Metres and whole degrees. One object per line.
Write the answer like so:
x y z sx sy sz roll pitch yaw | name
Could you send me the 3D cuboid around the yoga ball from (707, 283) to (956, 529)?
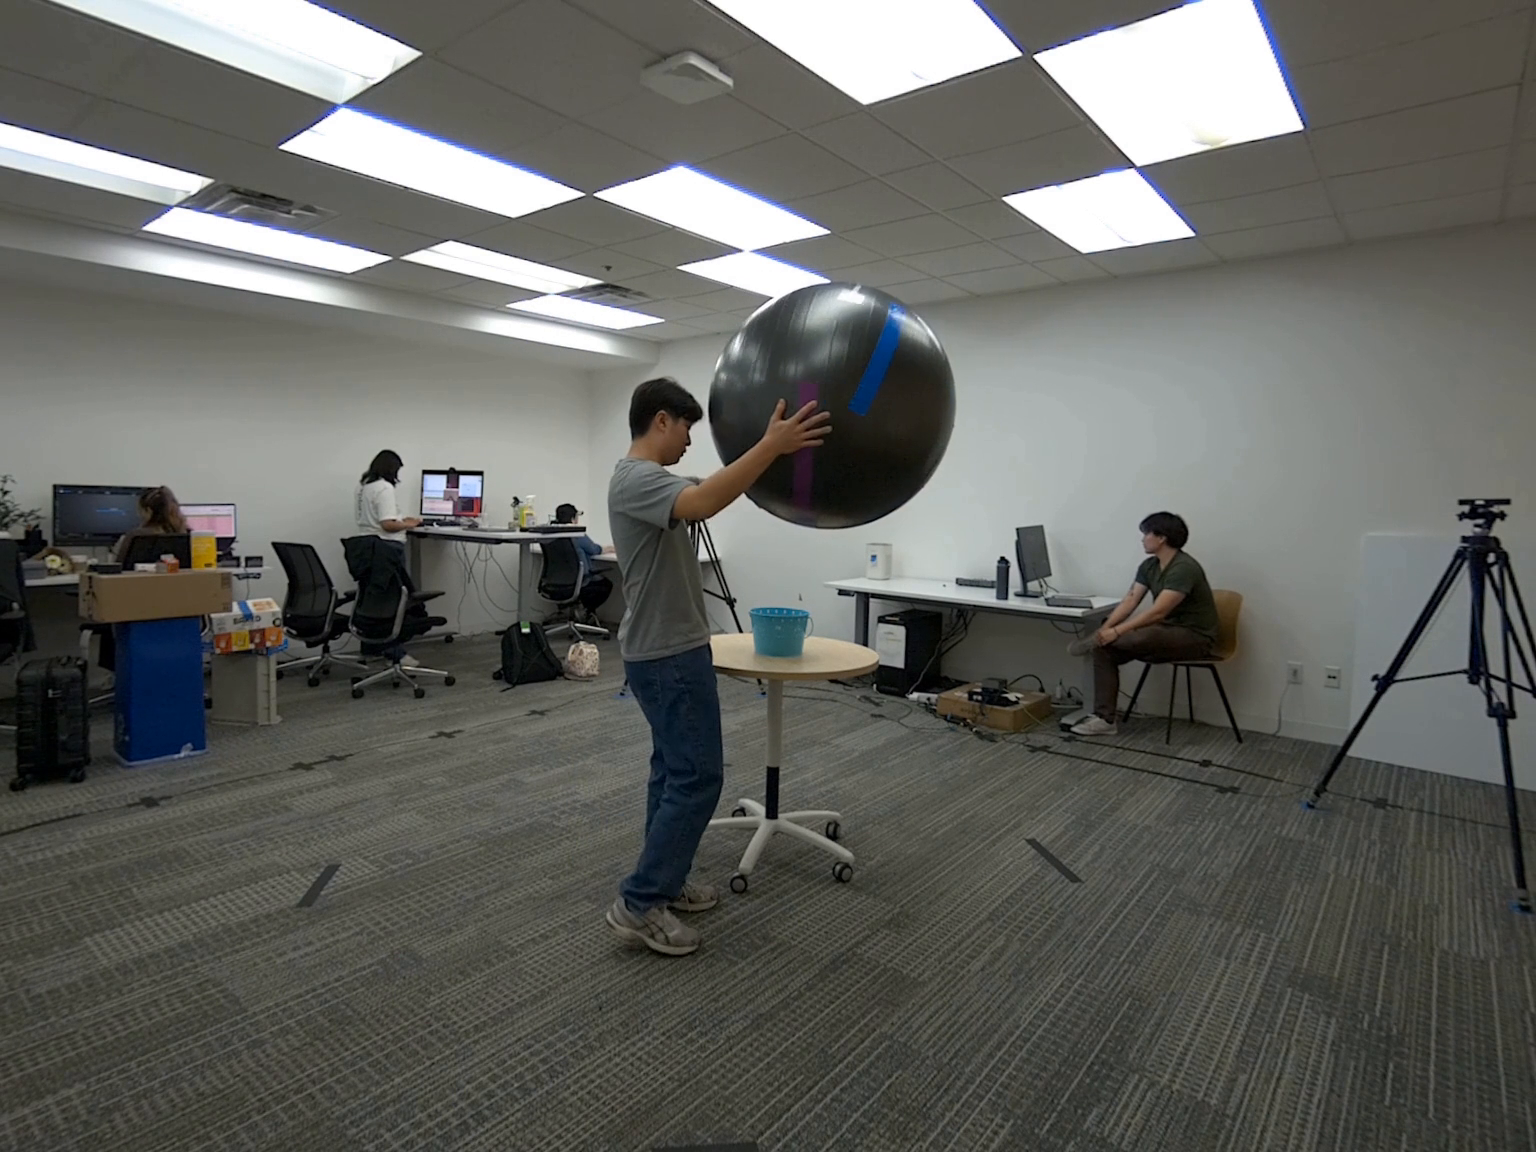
0.174 -0.522 2.664 0.757 0.755 0.762 1 4 -2 | yoga ball
